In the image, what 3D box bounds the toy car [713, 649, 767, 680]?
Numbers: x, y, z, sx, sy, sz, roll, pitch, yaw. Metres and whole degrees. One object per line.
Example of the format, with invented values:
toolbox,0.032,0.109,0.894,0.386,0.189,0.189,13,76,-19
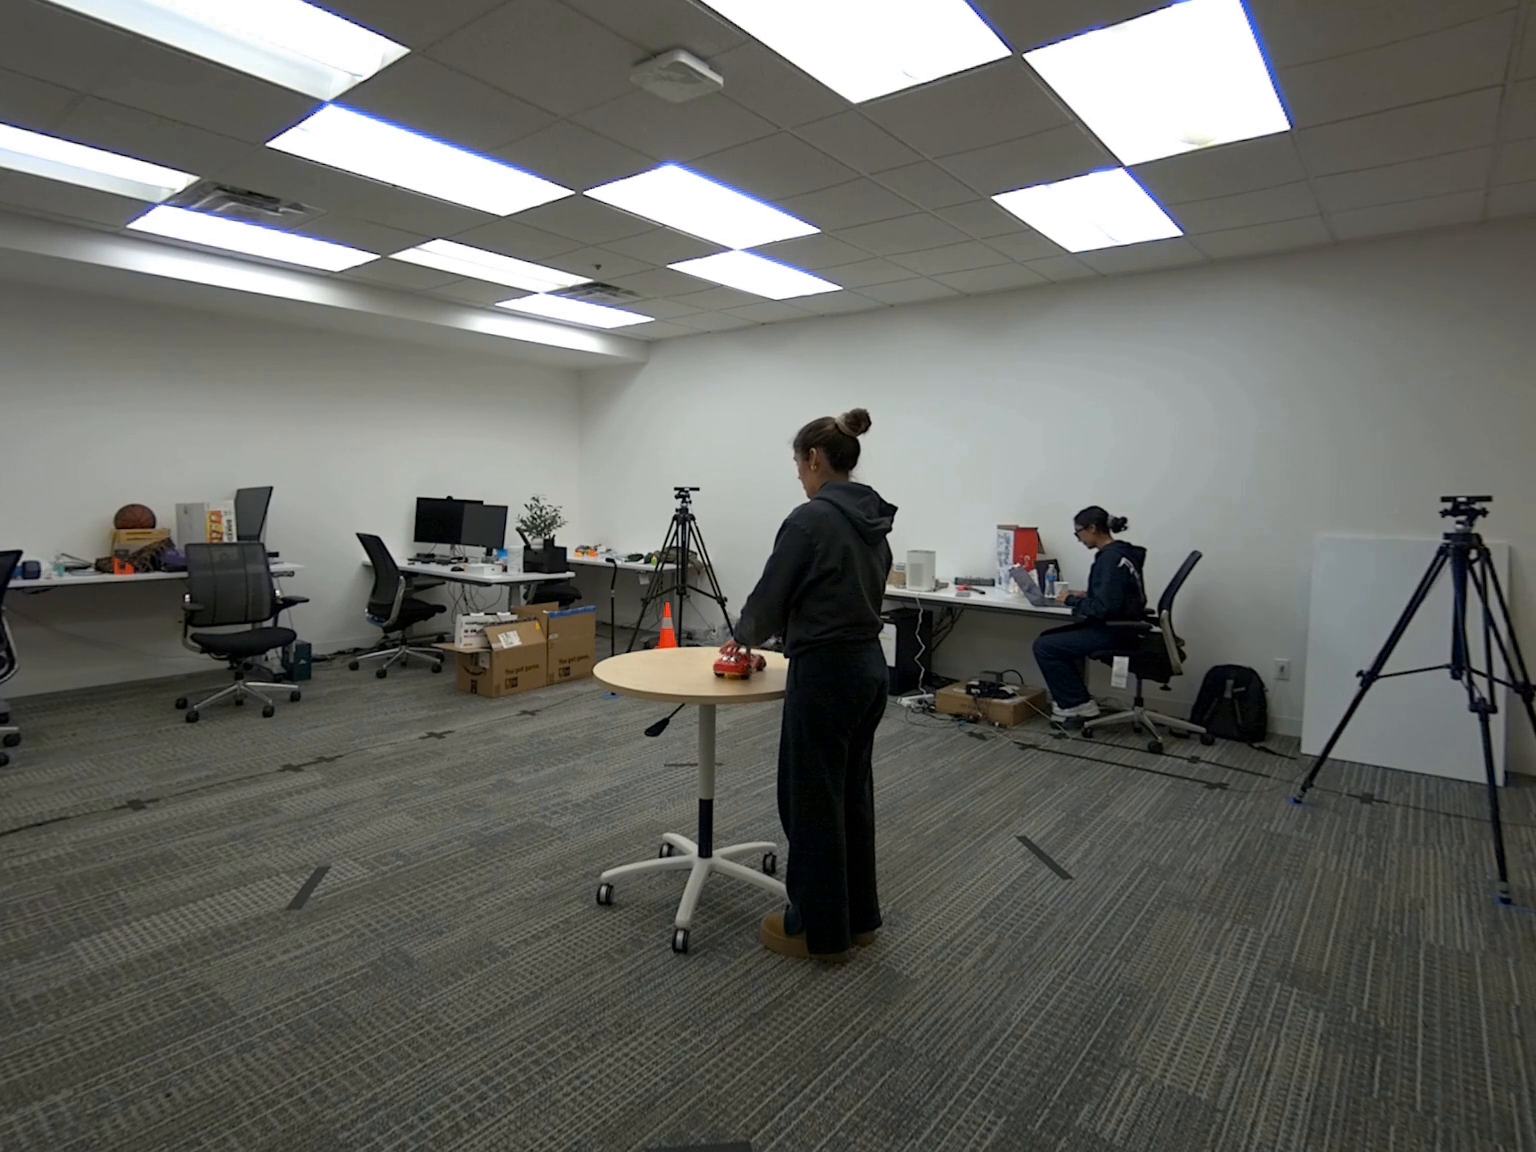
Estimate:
toy car,-0.105,0.289,2.768,0.133,0.083,0.248,4,-4,18
